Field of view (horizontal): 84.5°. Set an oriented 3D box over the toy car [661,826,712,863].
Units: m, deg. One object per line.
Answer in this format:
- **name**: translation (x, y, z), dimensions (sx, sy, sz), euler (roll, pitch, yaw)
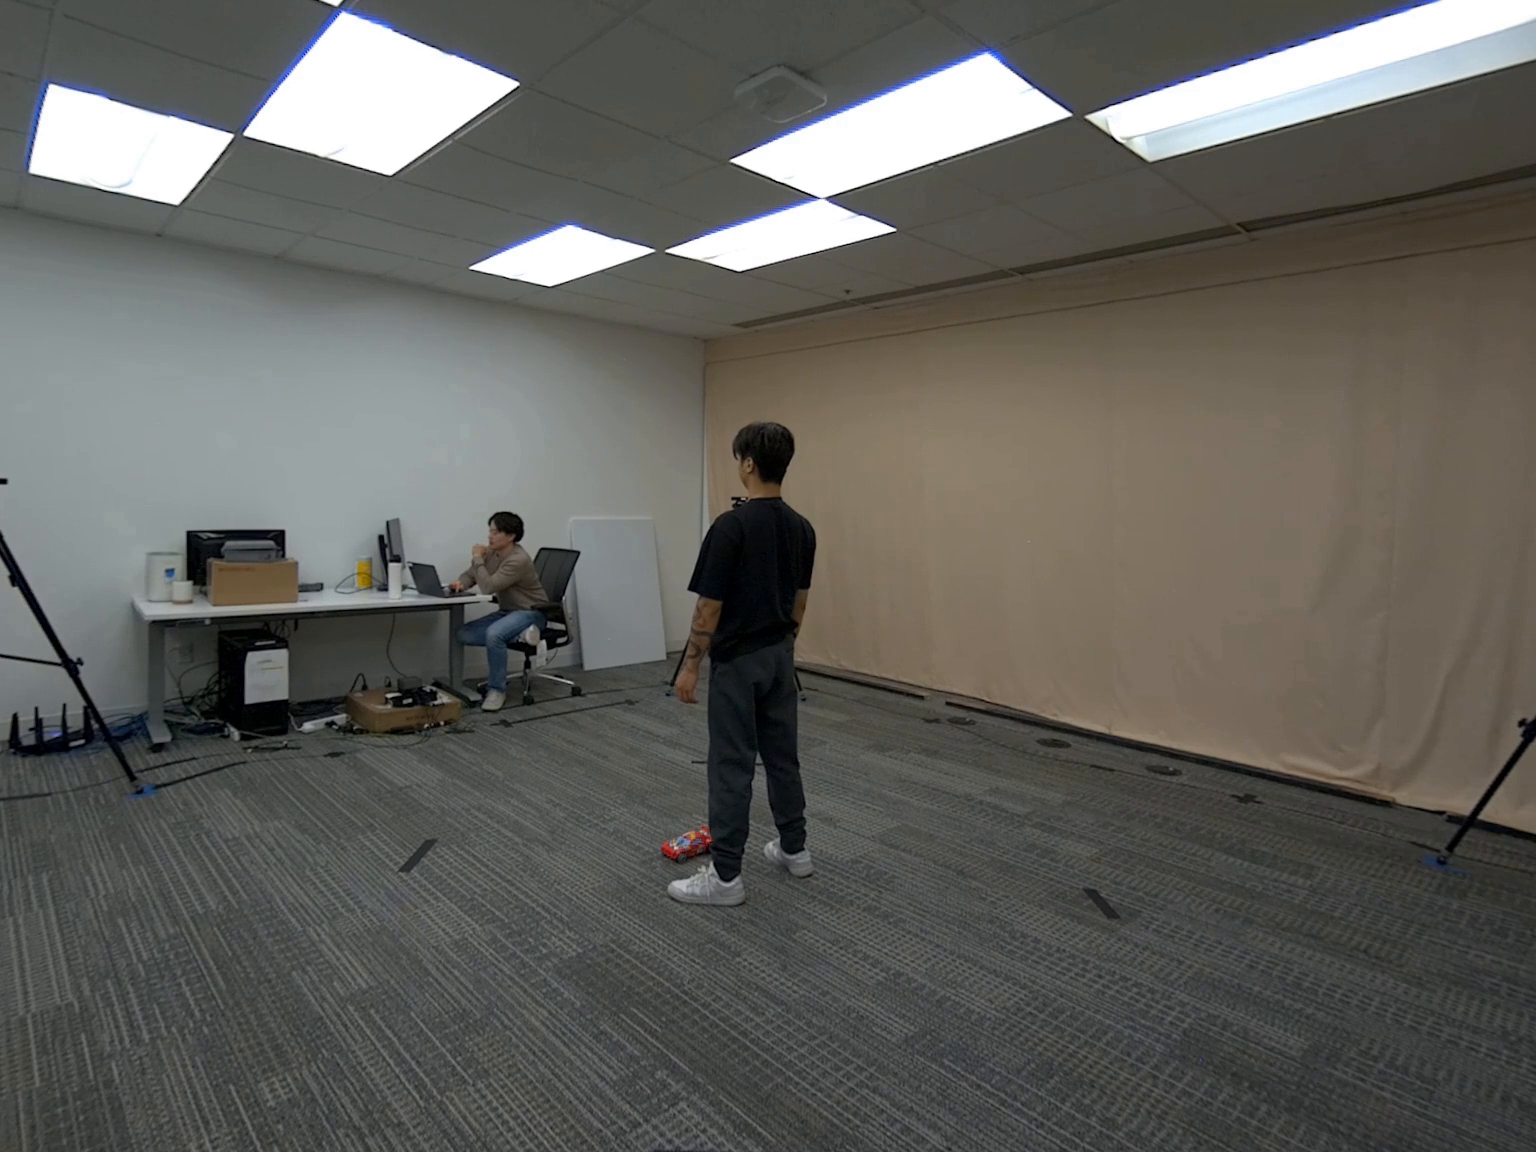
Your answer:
- **toy car**: translation (-0.301, 1.056, 3.304), dimensions (0.250, 0.082, 0.133), euler (-17, 14, -38)
